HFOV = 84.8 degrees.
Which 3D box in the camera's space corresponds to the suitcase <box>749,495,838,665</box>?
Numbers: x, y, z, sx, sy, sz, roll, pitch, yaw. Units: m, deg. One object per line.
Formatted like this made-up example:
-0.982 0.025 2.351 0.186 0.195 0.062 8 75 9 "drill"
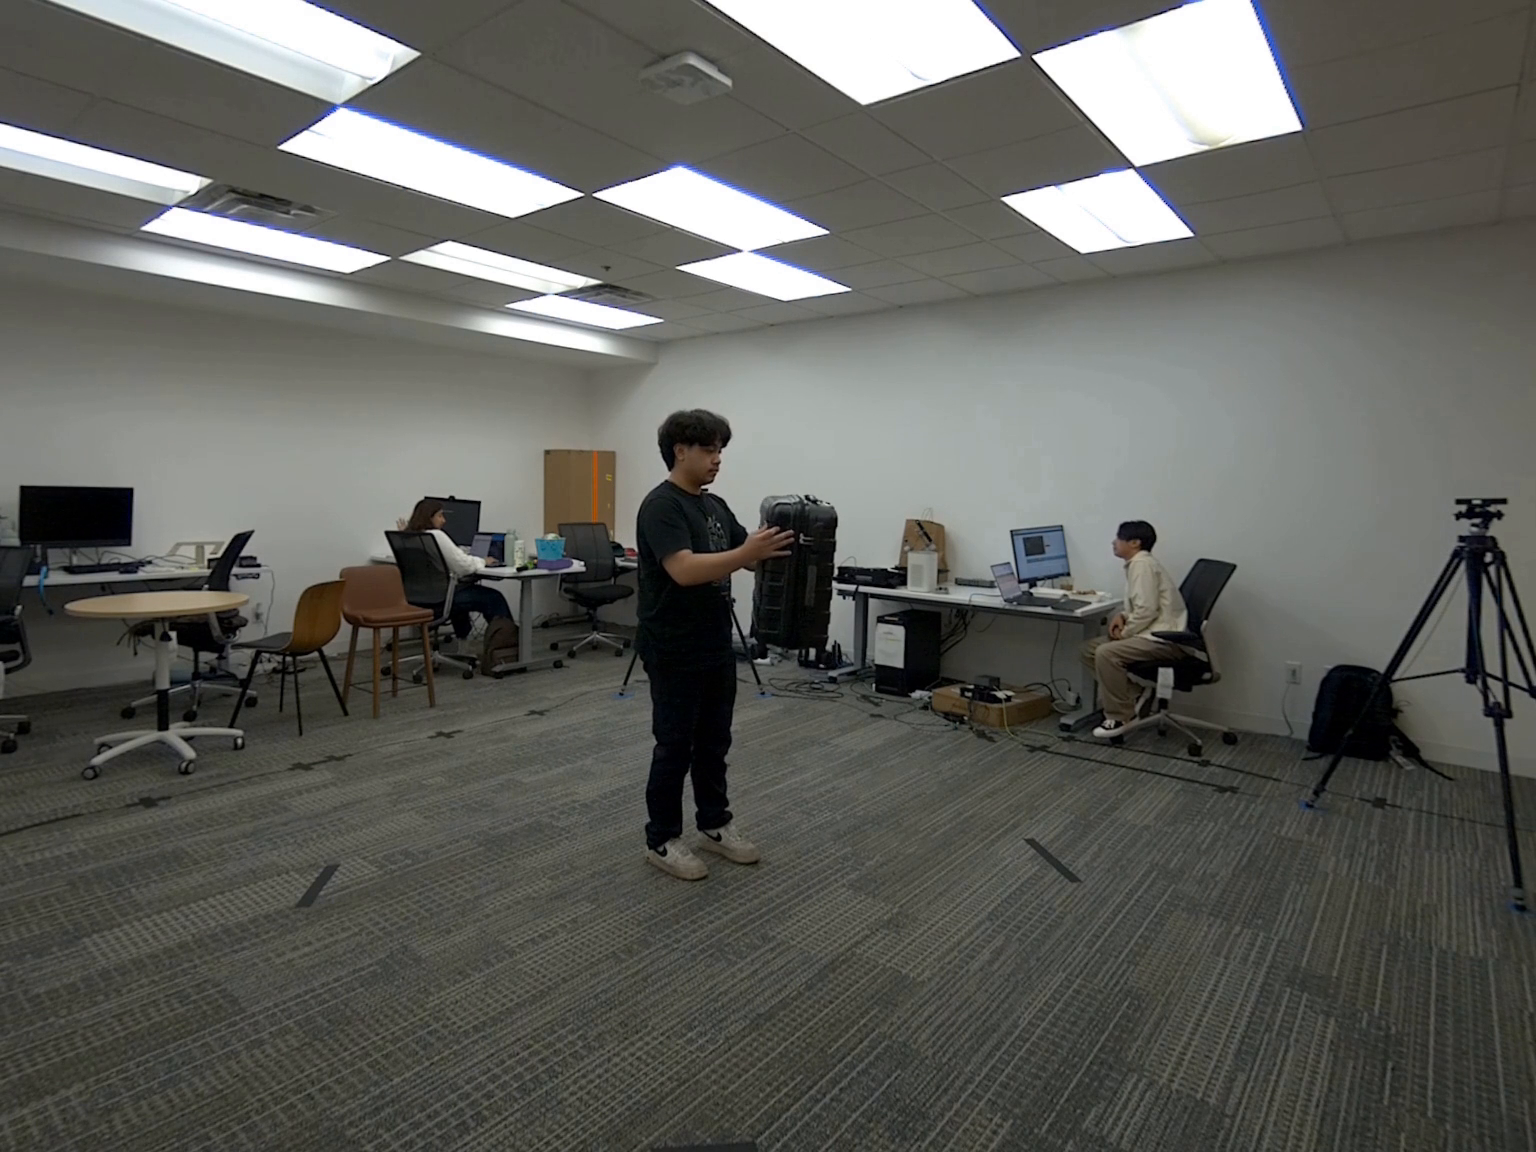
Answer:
0.079 -0.010 2.936 0.248 0.545 0.379 5 9 -3 "suitcase"
